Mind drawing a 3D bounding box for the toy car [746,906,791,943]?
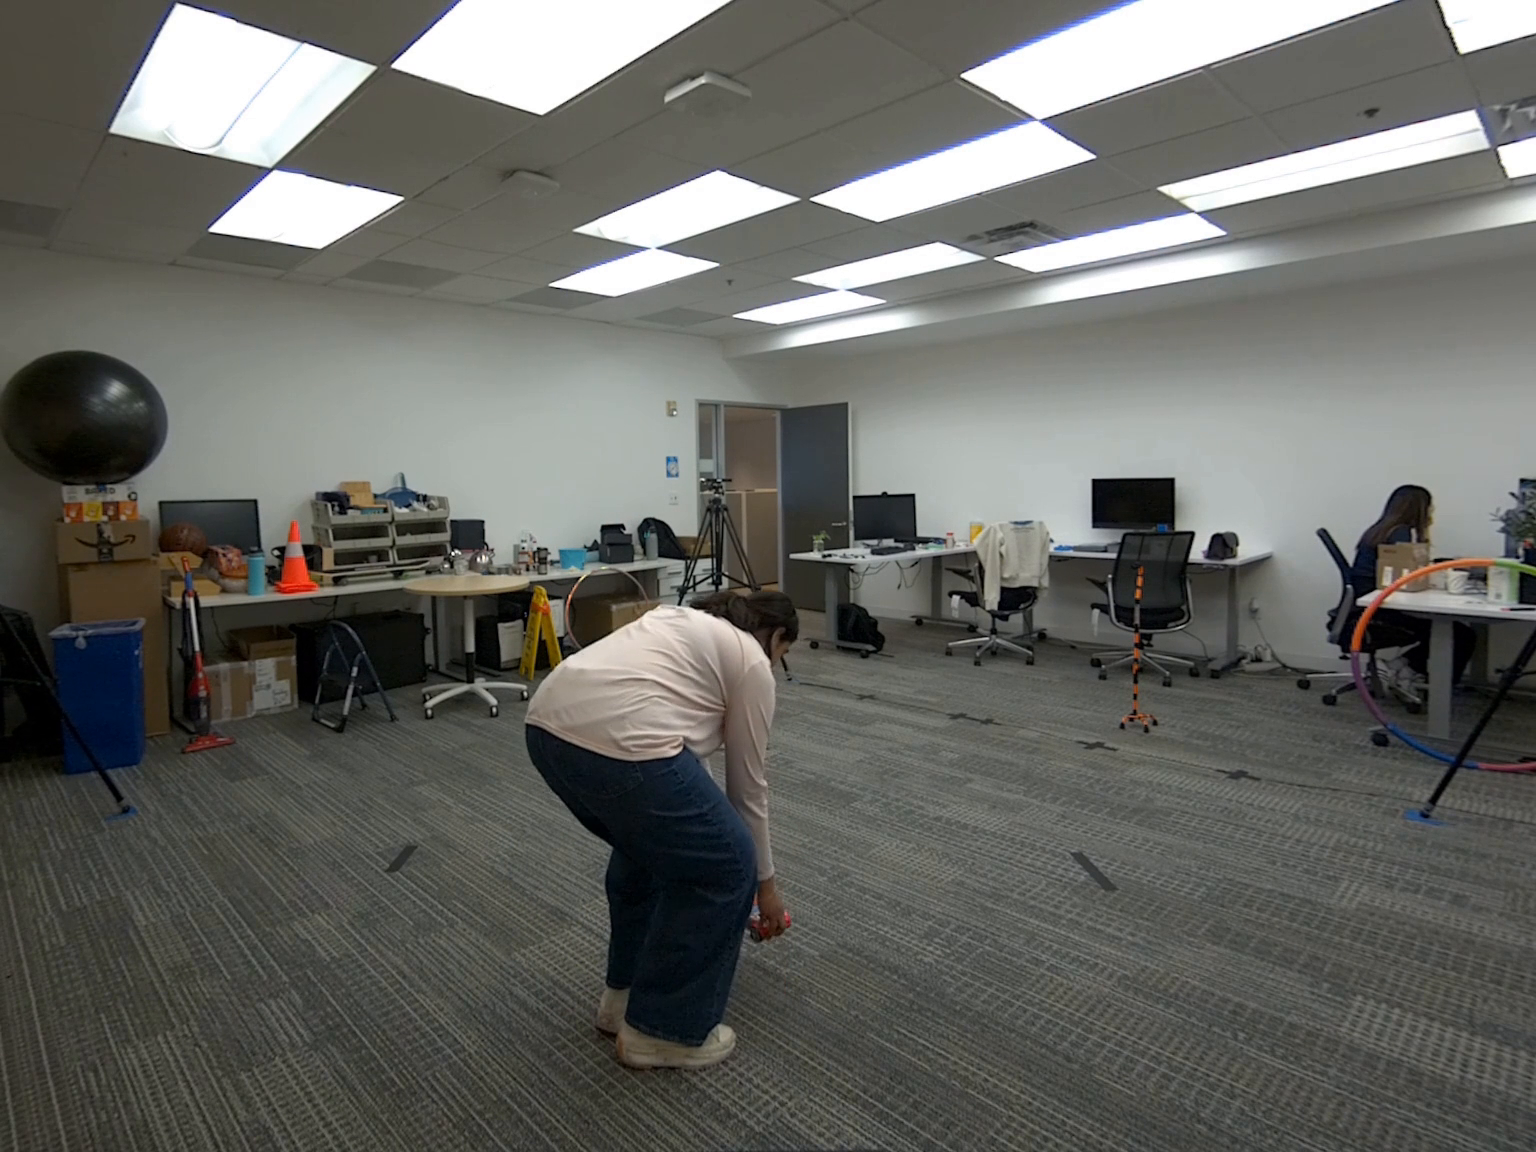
[{"bbox_3d":[-0.046,0.933,2.395,0.127,0.082,0.264,-11,22,-33],"label":"toy car"}]
